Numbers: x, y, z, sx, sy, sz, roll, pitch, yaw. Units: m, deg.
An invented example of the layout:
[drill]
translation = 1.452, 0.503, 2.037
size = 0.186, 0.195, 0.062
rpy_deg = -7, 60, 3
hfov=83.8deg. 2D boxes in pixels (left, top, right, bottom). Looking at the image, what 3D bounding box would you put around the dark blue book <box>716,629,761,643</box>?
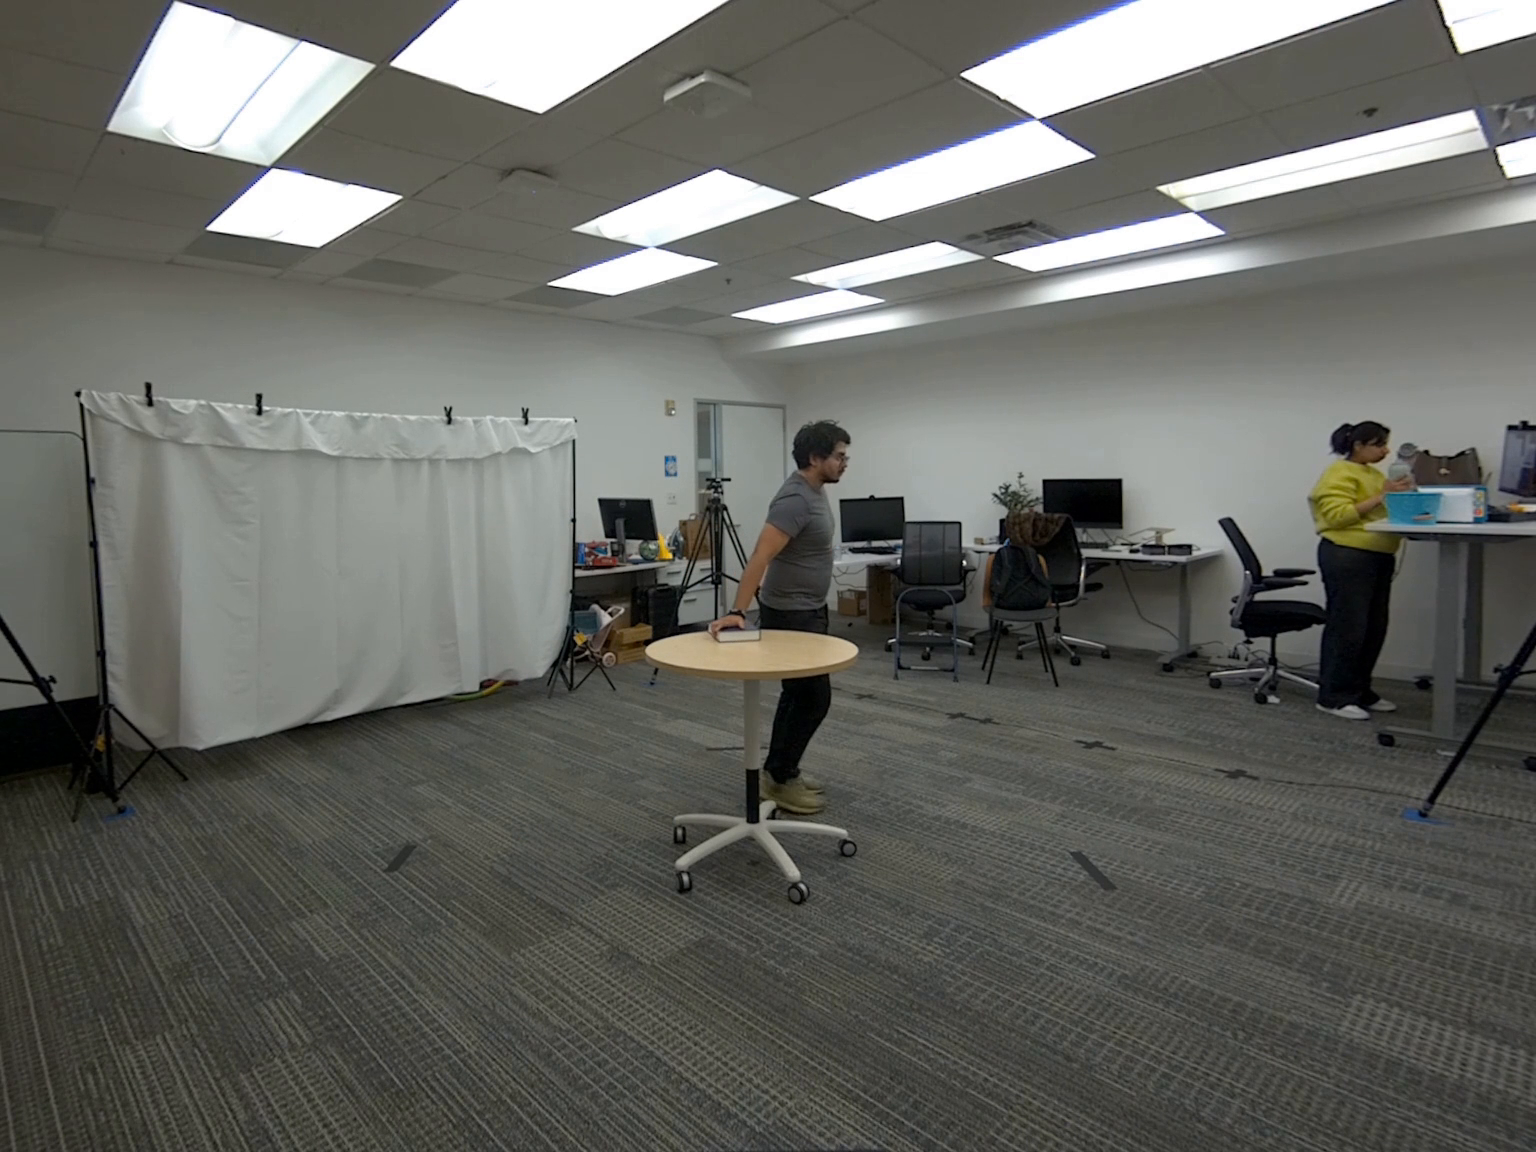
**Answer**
[dark blue book]
translation = -0.131, 0.215, 3.331
size = 0.161, 0.045, 0.249
rpy_deg = -2, 6, -13
